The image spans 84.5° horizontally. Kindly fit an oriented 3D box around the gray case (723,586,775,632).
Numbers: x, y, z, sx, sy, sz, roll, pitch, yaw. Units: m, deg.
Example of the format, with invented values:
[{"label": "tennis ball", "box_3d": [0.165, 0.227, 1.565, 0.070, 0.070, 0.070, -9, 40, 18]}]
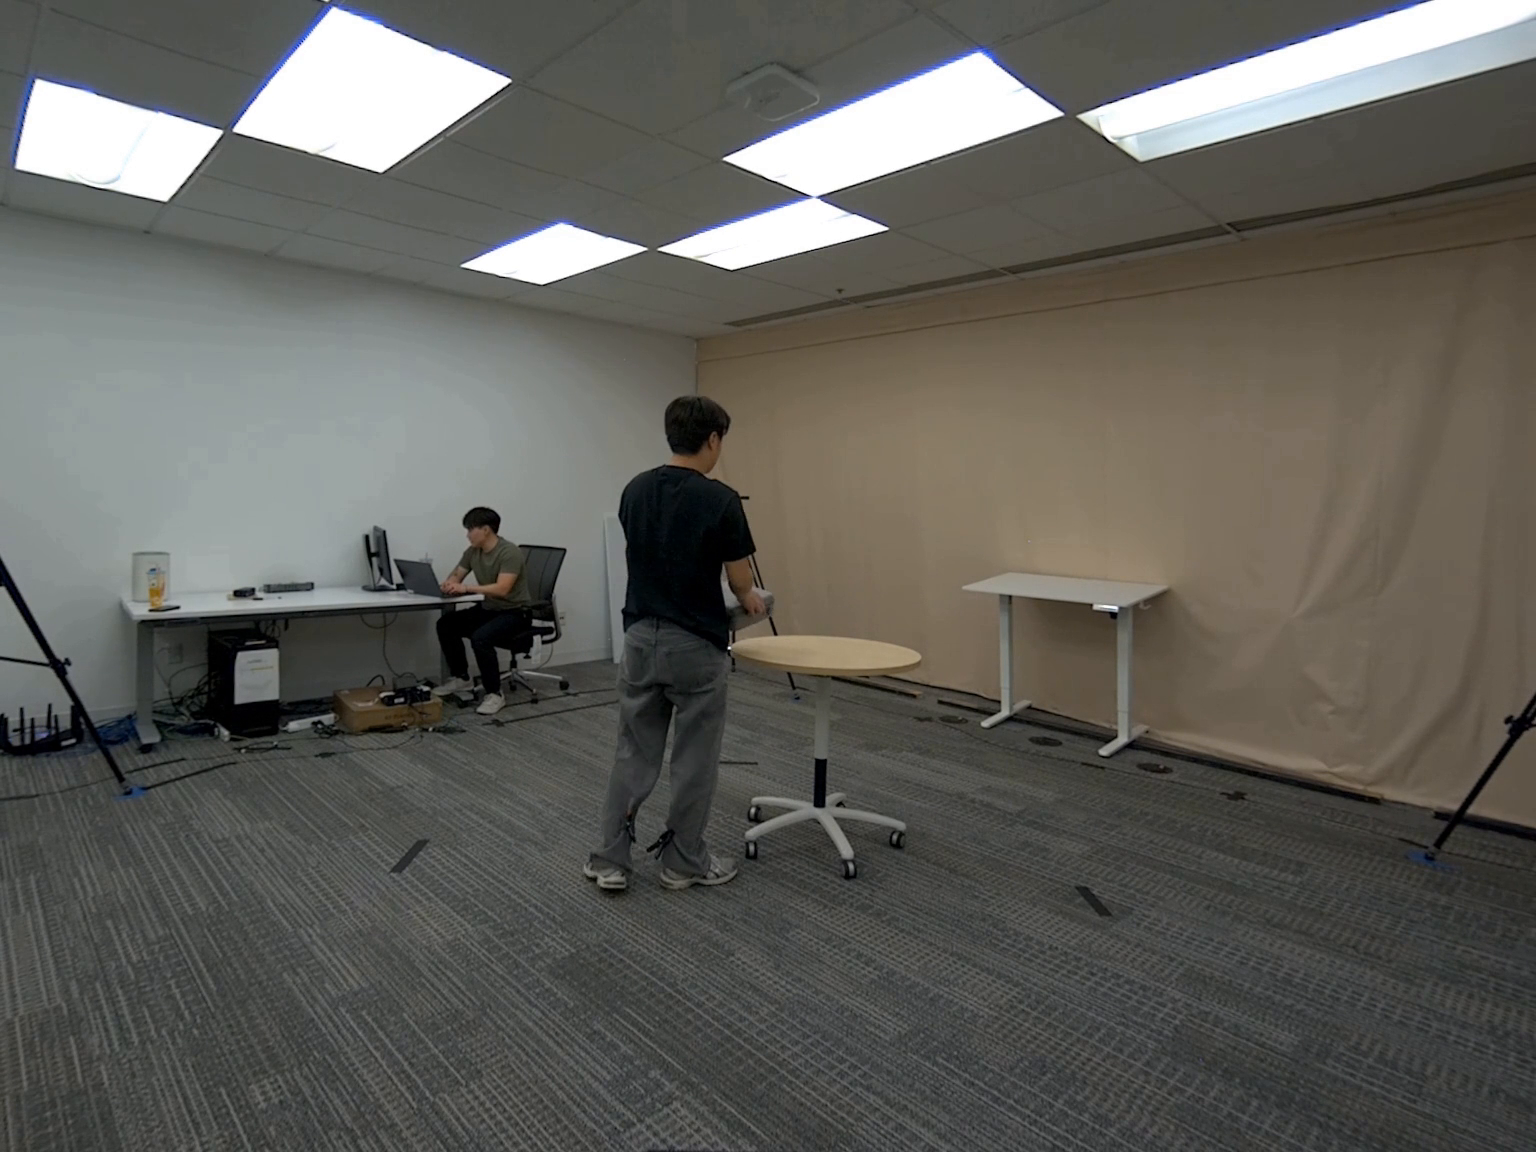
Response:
[{"label": "gray case", "box_3d": [-0.147, 0.117, 3.318, 0.271, 0.102, 0.282, 15, 22, 40]}]
